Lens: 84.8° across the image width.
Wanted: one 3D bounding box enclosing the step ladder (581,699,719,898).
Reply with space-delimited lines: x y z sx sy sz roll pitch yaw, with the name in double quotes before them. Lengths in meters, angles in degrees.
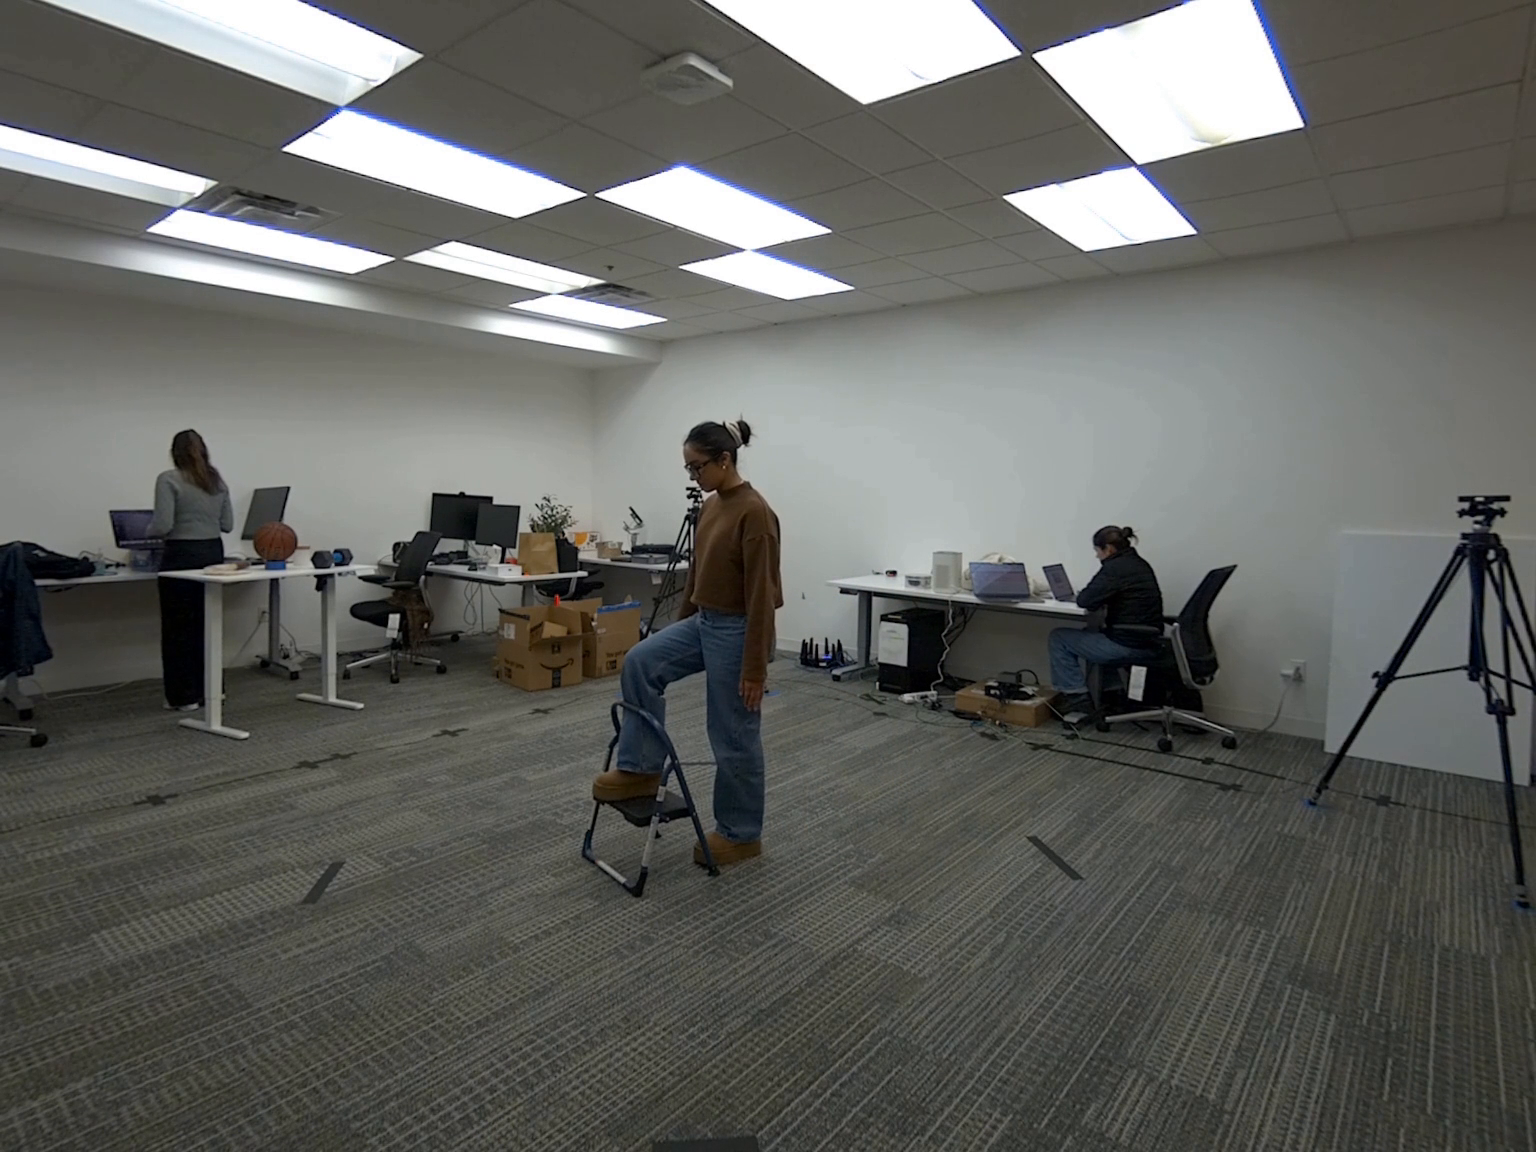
"step ladder" -0.446 0.759 3.116 0.339 0.604 0.445 -2 5 -39
